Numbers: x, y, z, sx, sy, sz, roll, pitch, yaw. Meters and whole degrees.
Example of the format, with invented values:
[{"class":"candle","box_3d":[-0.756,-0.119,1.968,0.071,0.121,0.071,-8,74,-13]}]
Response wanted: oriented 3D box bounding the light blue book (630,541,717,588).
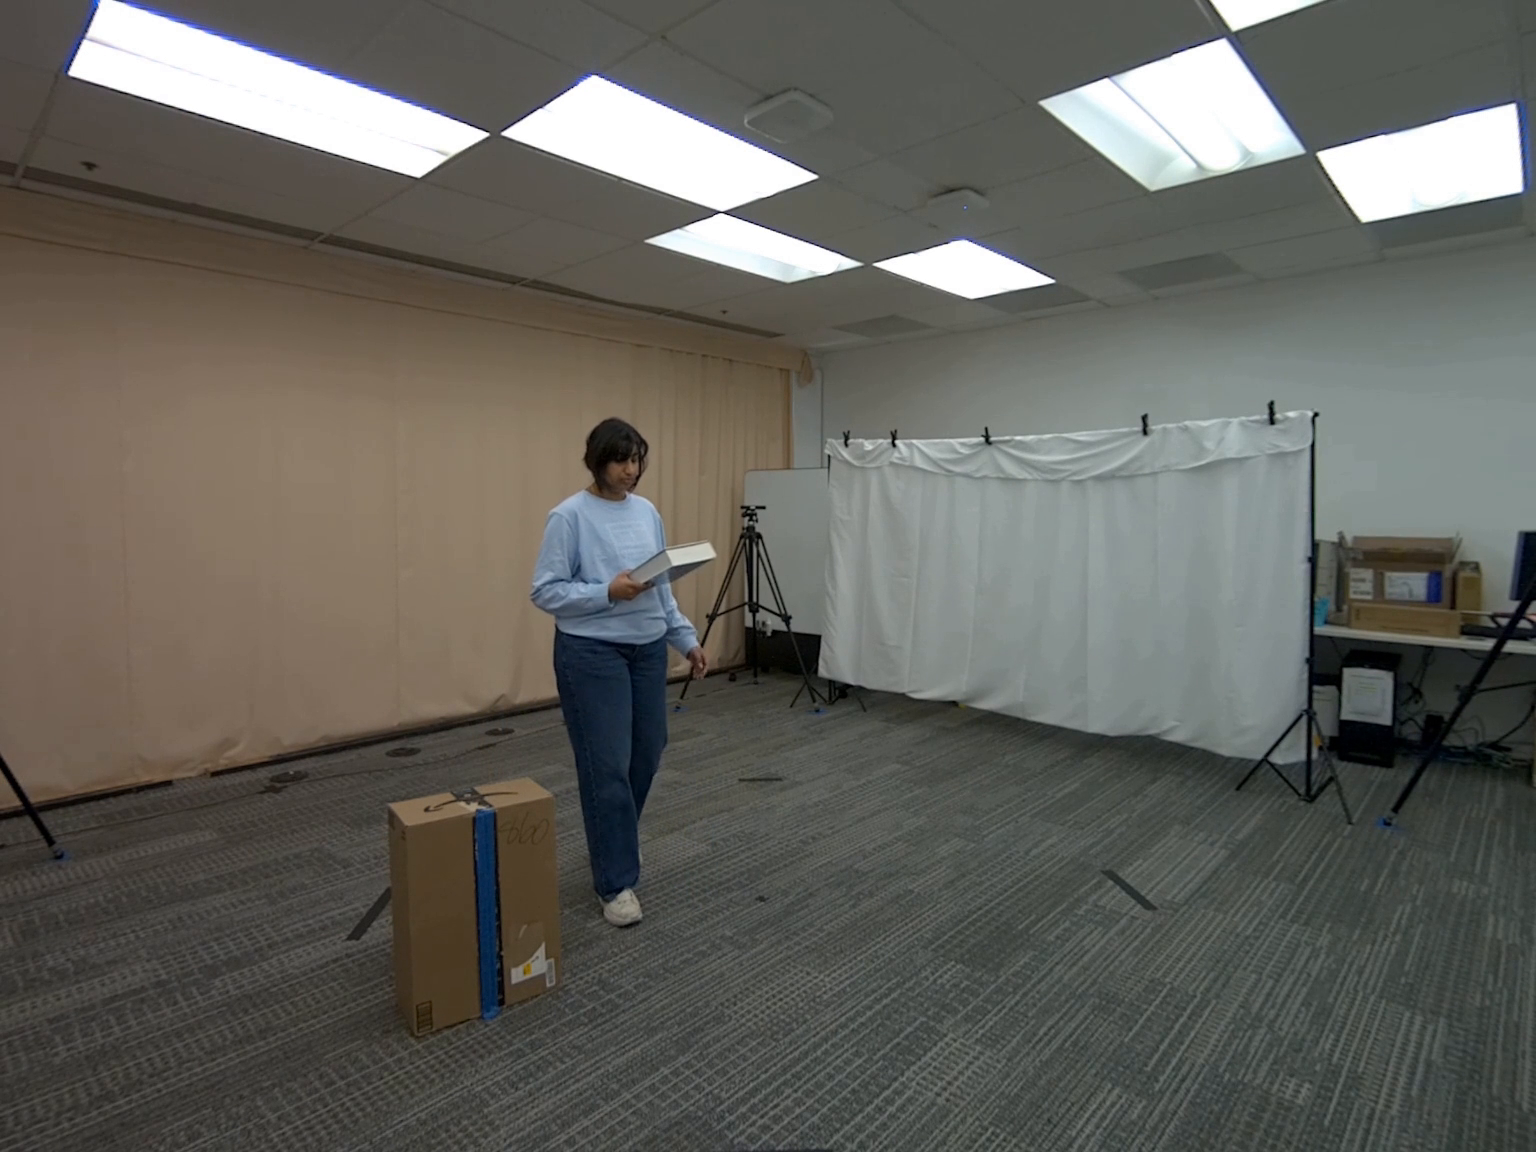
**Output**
[{"class":"light blue book","box_3d":[-0.330,-0.029,2.754,0.186,0.059,0.266,-13,-9,-43]}]
